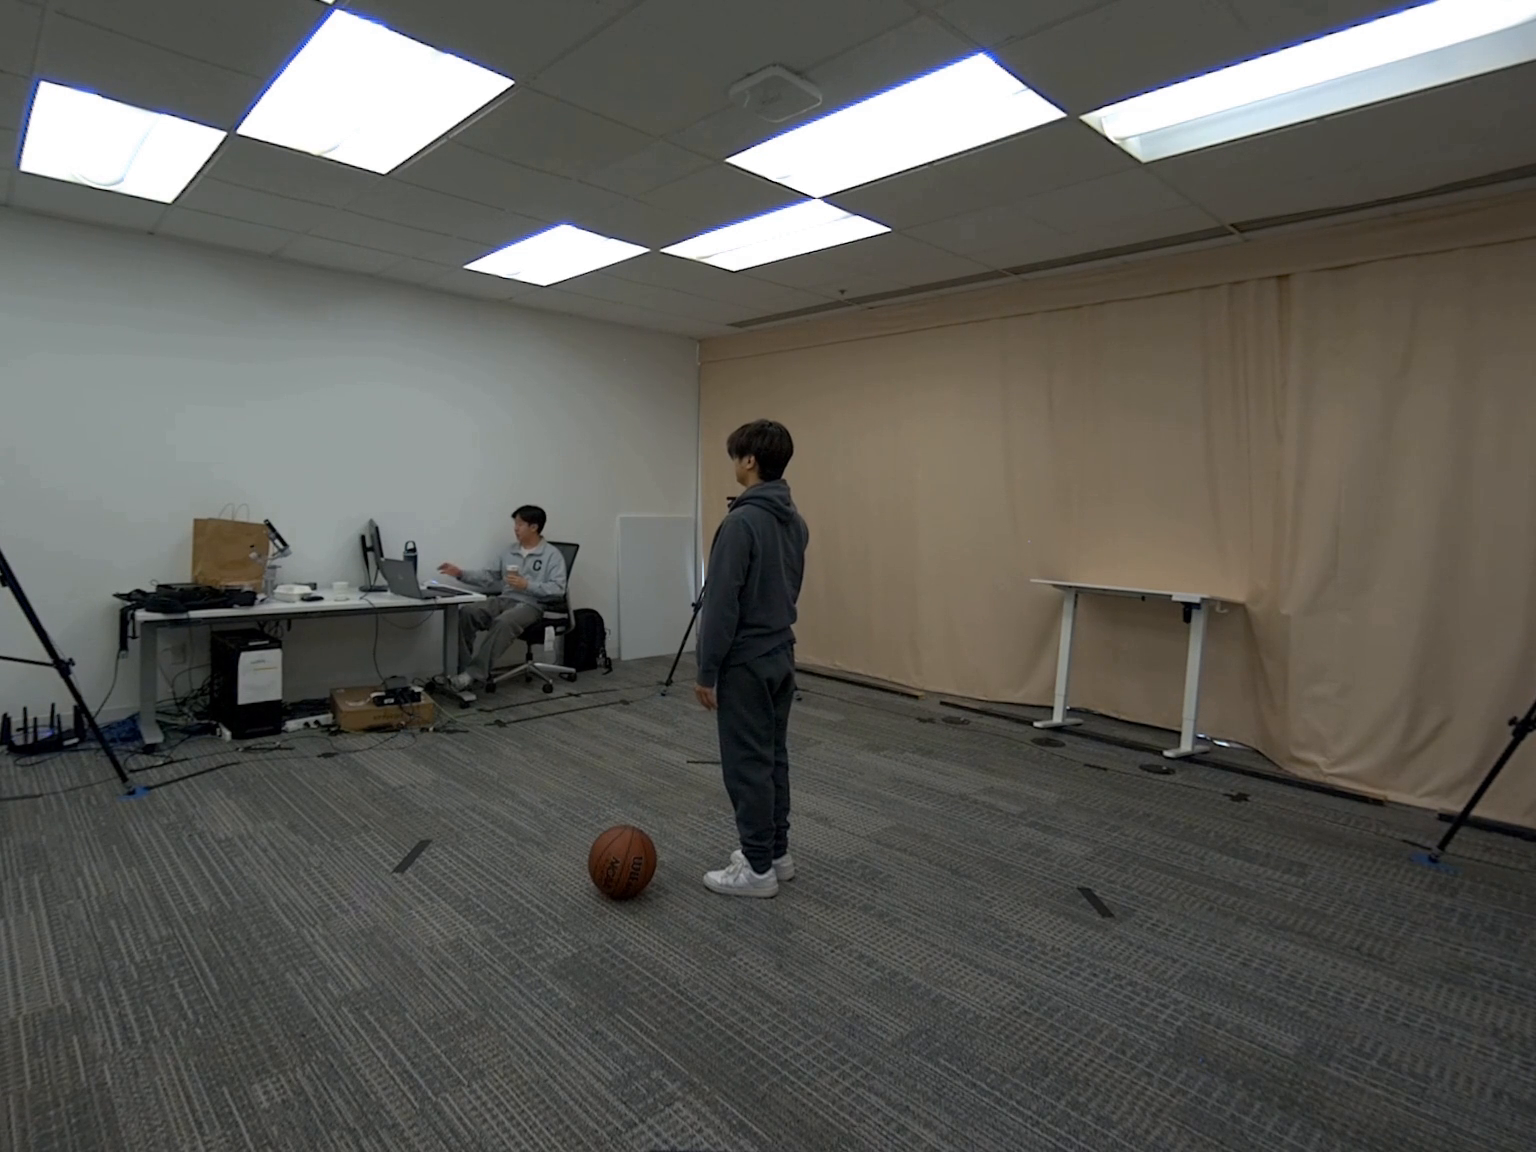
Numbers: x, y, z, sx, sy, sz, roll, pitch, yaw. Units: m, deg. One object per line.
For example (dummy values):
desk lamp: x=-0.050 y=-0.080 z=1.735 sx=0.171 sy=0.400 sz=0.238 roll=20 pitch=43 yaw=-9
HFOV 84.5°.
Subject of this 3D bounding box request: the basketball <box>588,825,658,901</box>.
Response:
basketball: x=-0.511 y=0.992 z=2.932 sx=0.236 sy=0.235 sz=0.237 roll=1 pitch=4 yaw=-1
